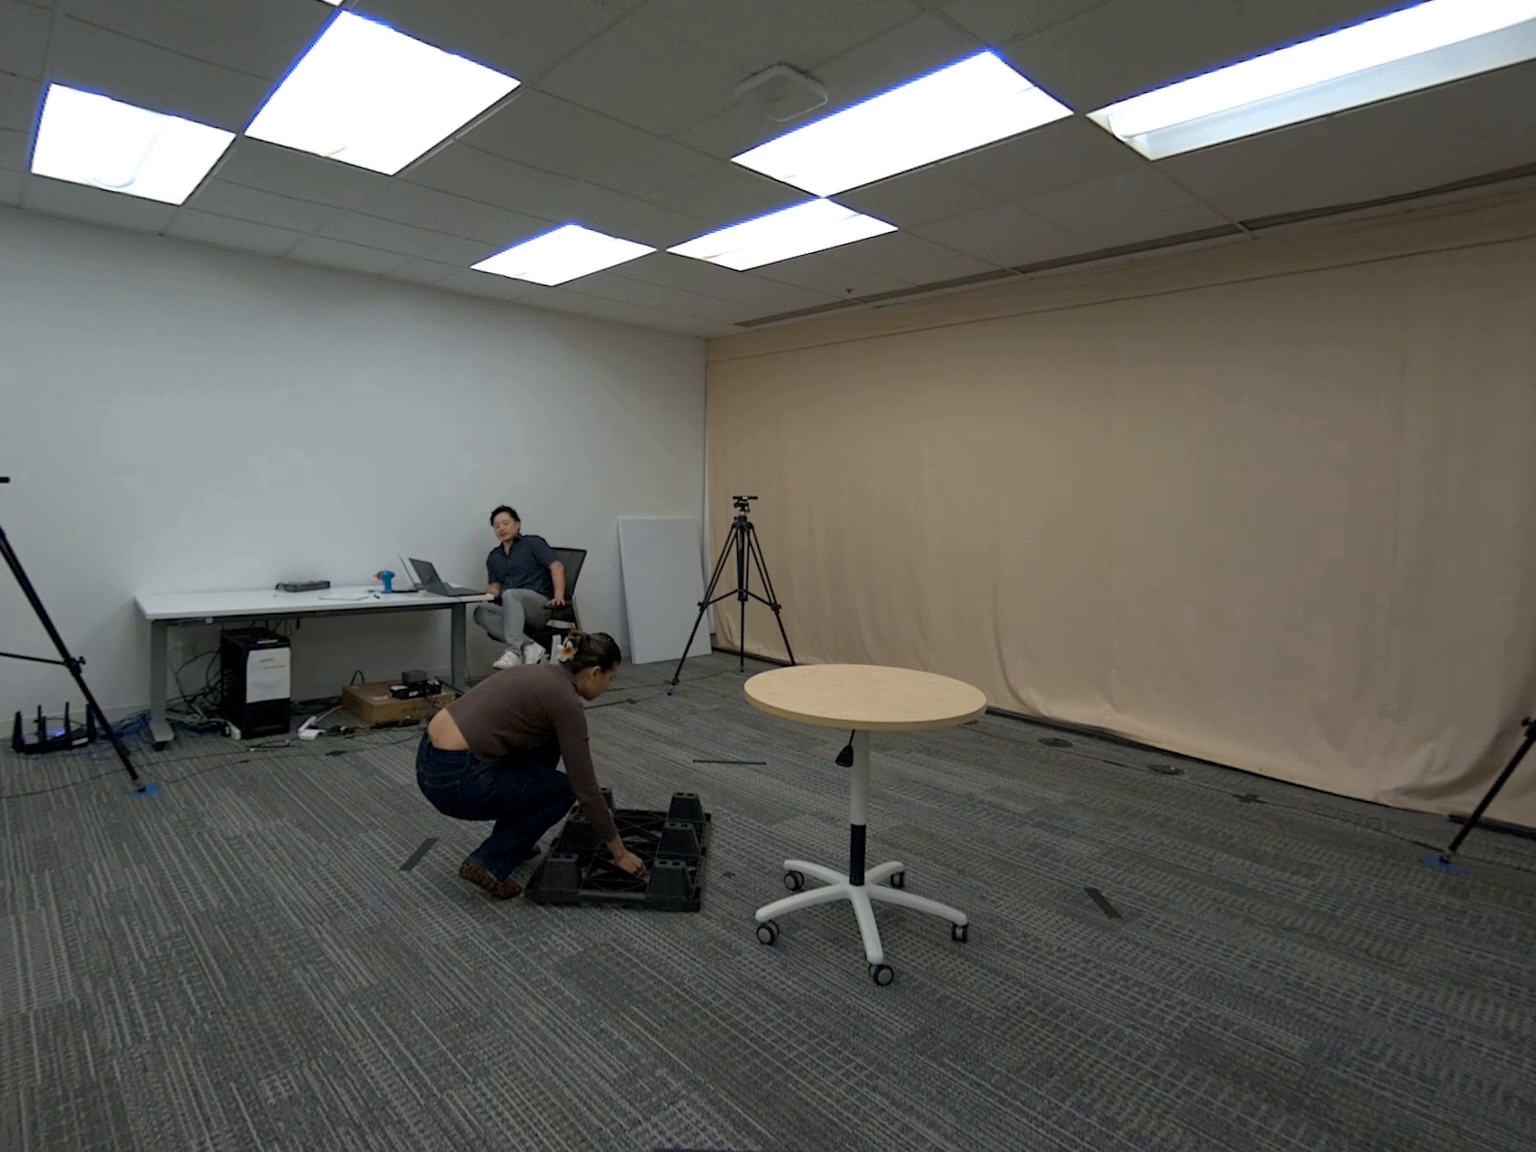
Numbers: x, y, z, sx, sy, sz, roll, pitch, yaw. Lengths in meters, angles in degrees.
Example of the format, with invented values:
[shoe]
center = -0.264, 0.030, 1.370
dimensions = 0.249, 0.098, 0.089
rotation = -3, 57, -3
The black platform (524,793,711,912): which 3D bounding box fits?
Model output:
[black platform]
center = -0.536, 1.004, 3.216
dimensions = 0.605, 0.143, 0.808
rotation = 3, 5, -1
